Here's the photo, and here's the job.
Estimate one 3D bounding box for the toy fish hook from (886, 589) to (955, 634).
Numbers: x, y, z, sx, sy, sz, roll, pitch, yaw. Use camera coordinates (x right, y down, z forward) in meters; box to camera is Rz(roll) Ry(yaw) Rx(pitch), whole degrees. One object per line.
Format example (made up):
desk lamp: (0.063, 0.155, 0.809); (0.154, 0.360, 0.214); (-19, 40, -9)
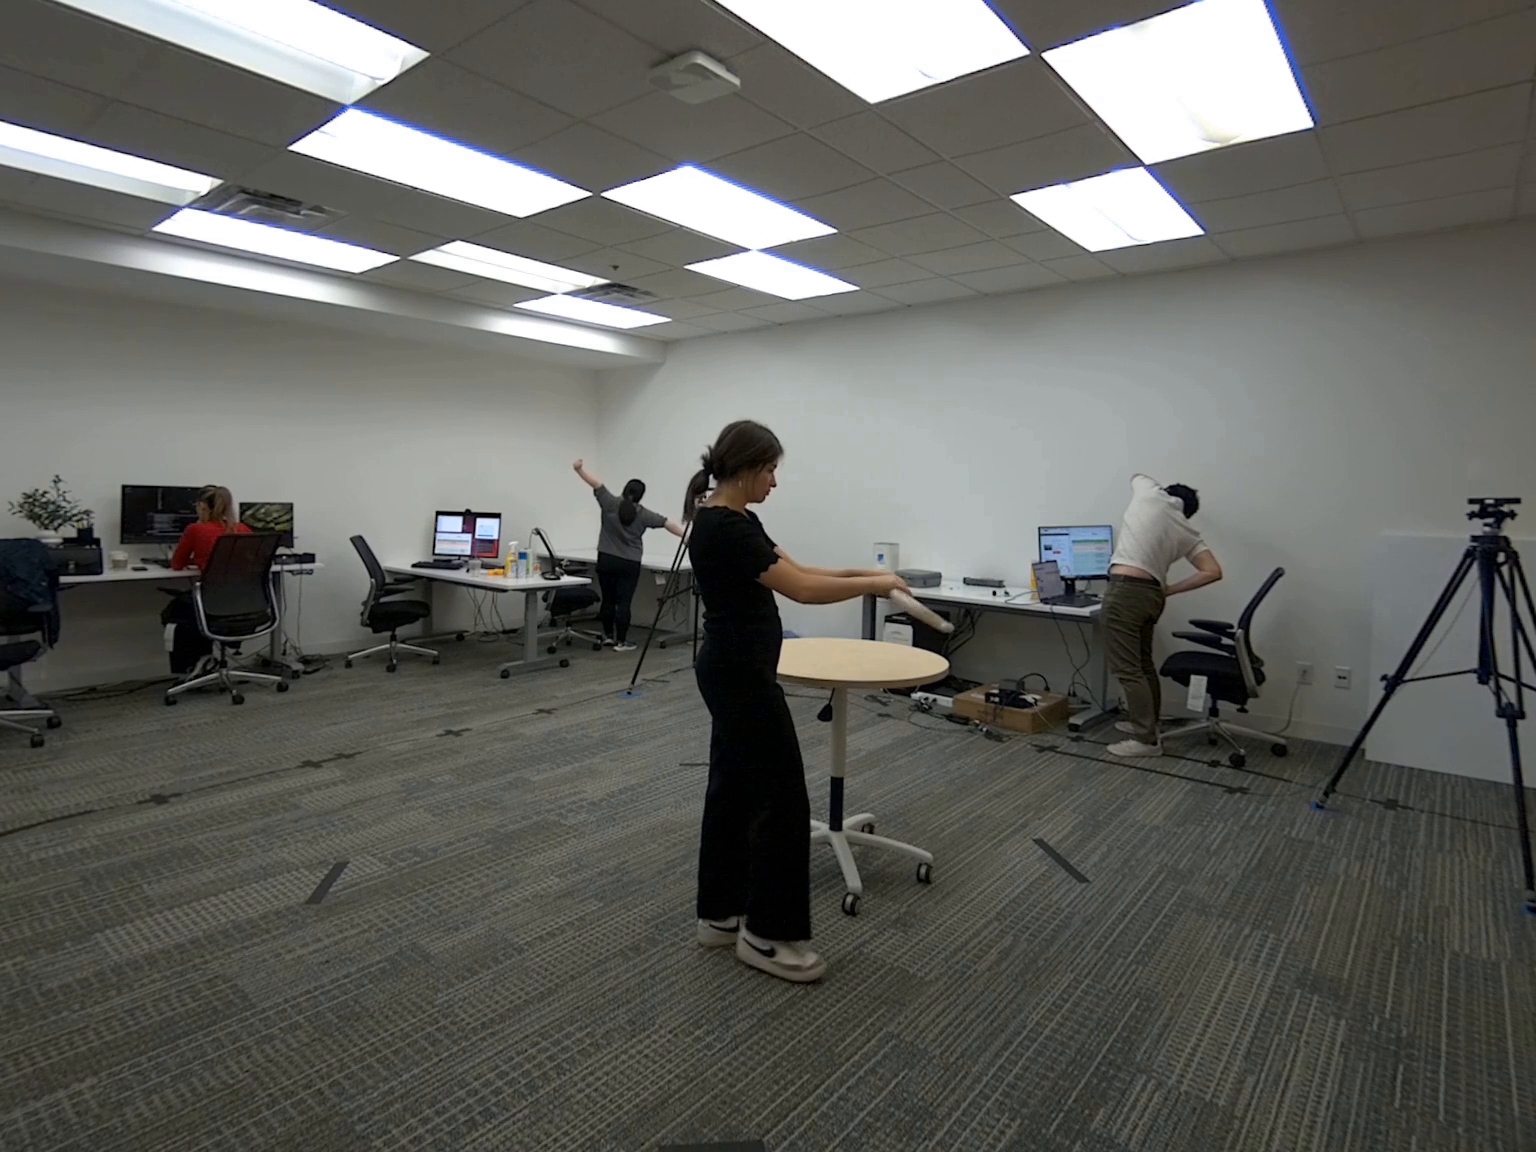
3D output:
toy fish hook: (0.422, 0.081, 2.591); (0.222, 0.048, 0.513); (38, 2, -10)
